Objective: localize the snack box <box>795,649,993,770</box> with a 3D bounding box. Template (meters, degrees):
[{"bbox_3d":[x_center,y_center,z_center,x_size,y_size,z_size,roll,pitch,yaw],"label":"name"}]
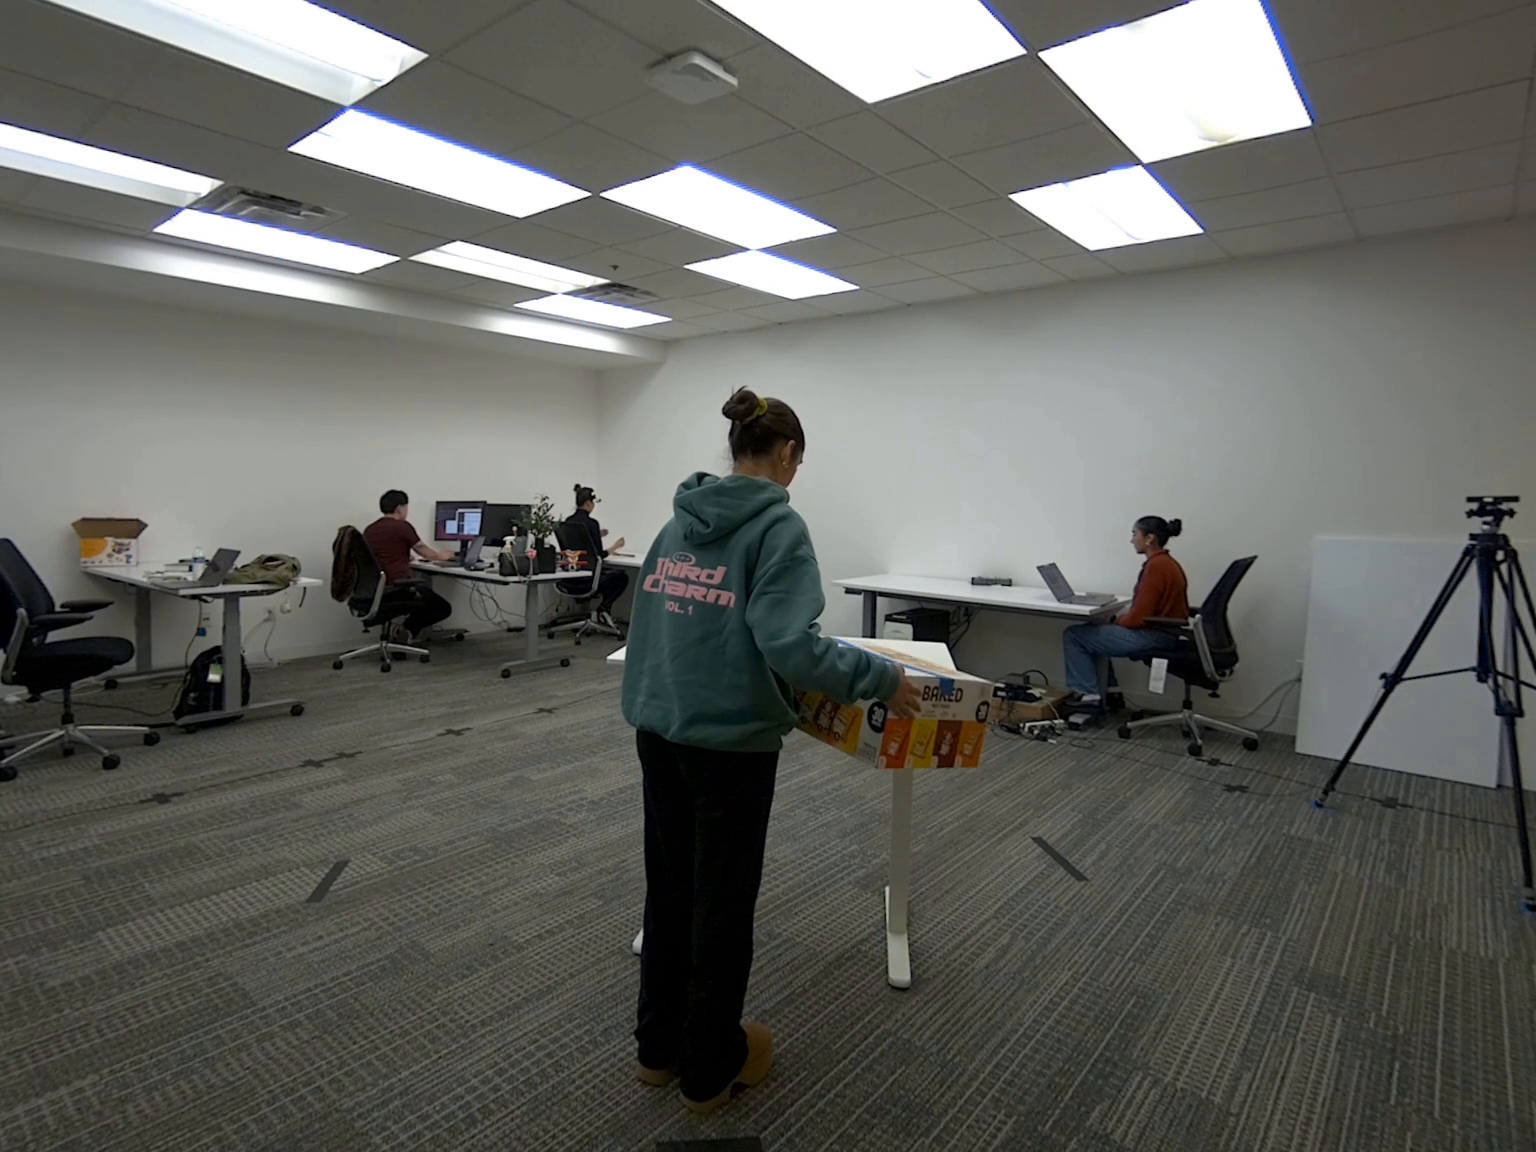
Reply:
[{"bbox_3d":[0.243,0.293,2.030,0.328,0.205,0.420,10,3,-38],"label":"snack box"}]
